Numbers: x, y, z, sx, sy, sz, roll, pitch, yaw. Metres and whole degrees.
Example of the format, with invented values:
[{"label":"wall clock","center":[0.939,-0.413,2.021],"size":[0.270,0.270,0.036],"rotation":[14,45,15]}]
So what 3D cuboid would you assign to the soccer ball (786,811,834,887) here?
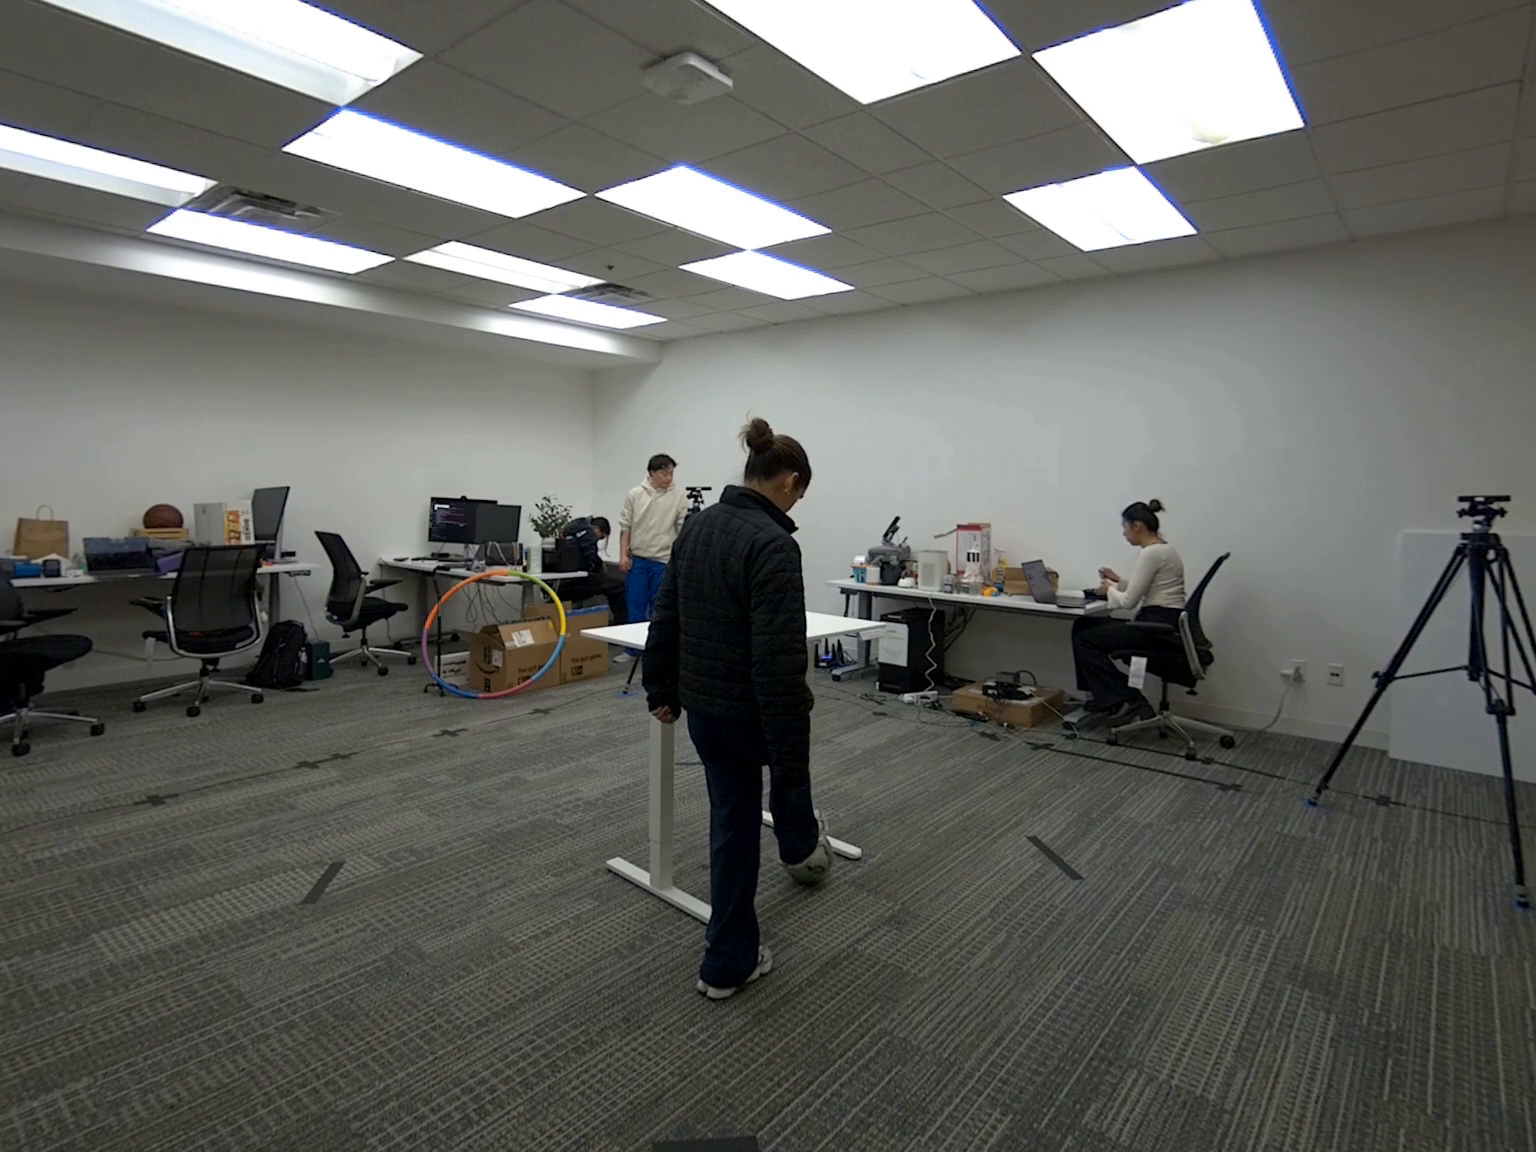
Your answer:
[{"label":"soccer ball","center":[0.136,0.985,3.015],"size":[0.187,0.187,0.188],"rotation":[1,4,-2]}]
